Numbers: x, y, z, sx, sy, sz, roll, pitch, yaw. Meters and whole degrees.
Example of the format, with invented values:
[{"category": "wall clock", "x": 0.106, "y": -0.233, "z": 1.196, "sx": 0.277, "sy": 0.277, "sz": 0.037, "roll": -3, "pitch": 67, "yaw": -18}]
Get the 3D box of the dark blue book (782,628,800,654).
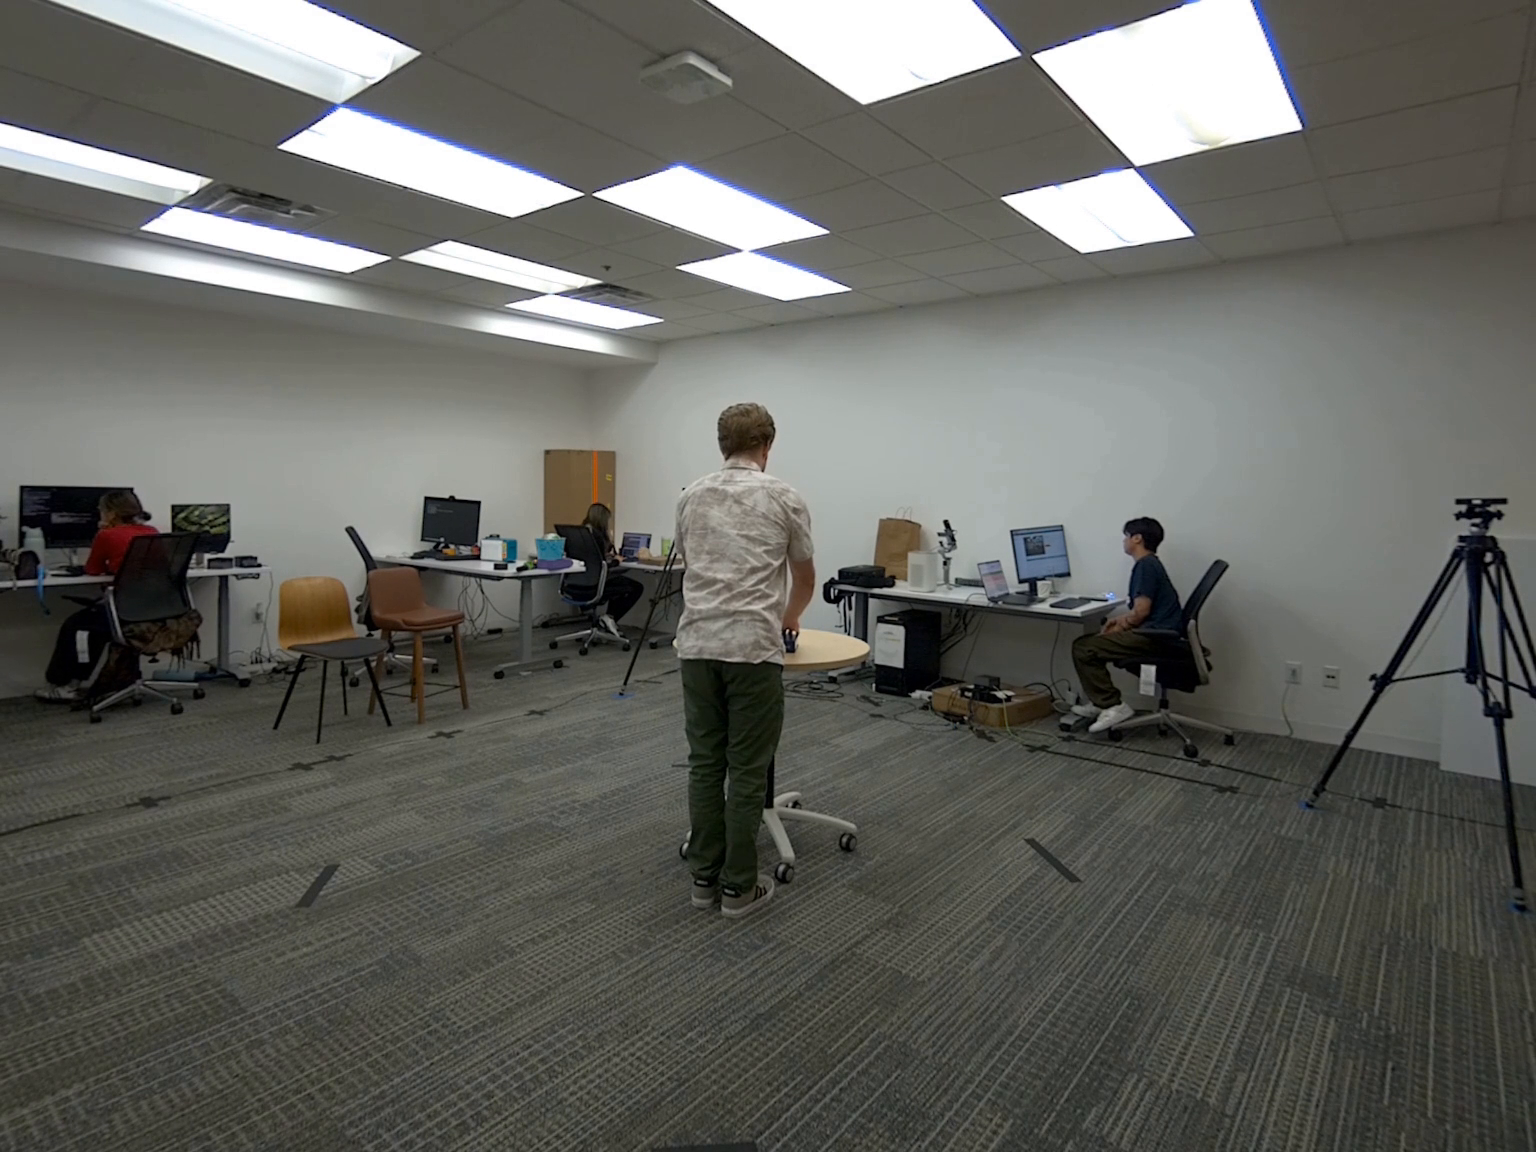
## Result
[{"category": "dark blue book", "x": -0.012, "y": 0.249, "z": 3.242, "sx": 0.247, "sy": 0.045, "sz": 0.163, "roll": 1, "pitch": 6, "yaw": 7}]
